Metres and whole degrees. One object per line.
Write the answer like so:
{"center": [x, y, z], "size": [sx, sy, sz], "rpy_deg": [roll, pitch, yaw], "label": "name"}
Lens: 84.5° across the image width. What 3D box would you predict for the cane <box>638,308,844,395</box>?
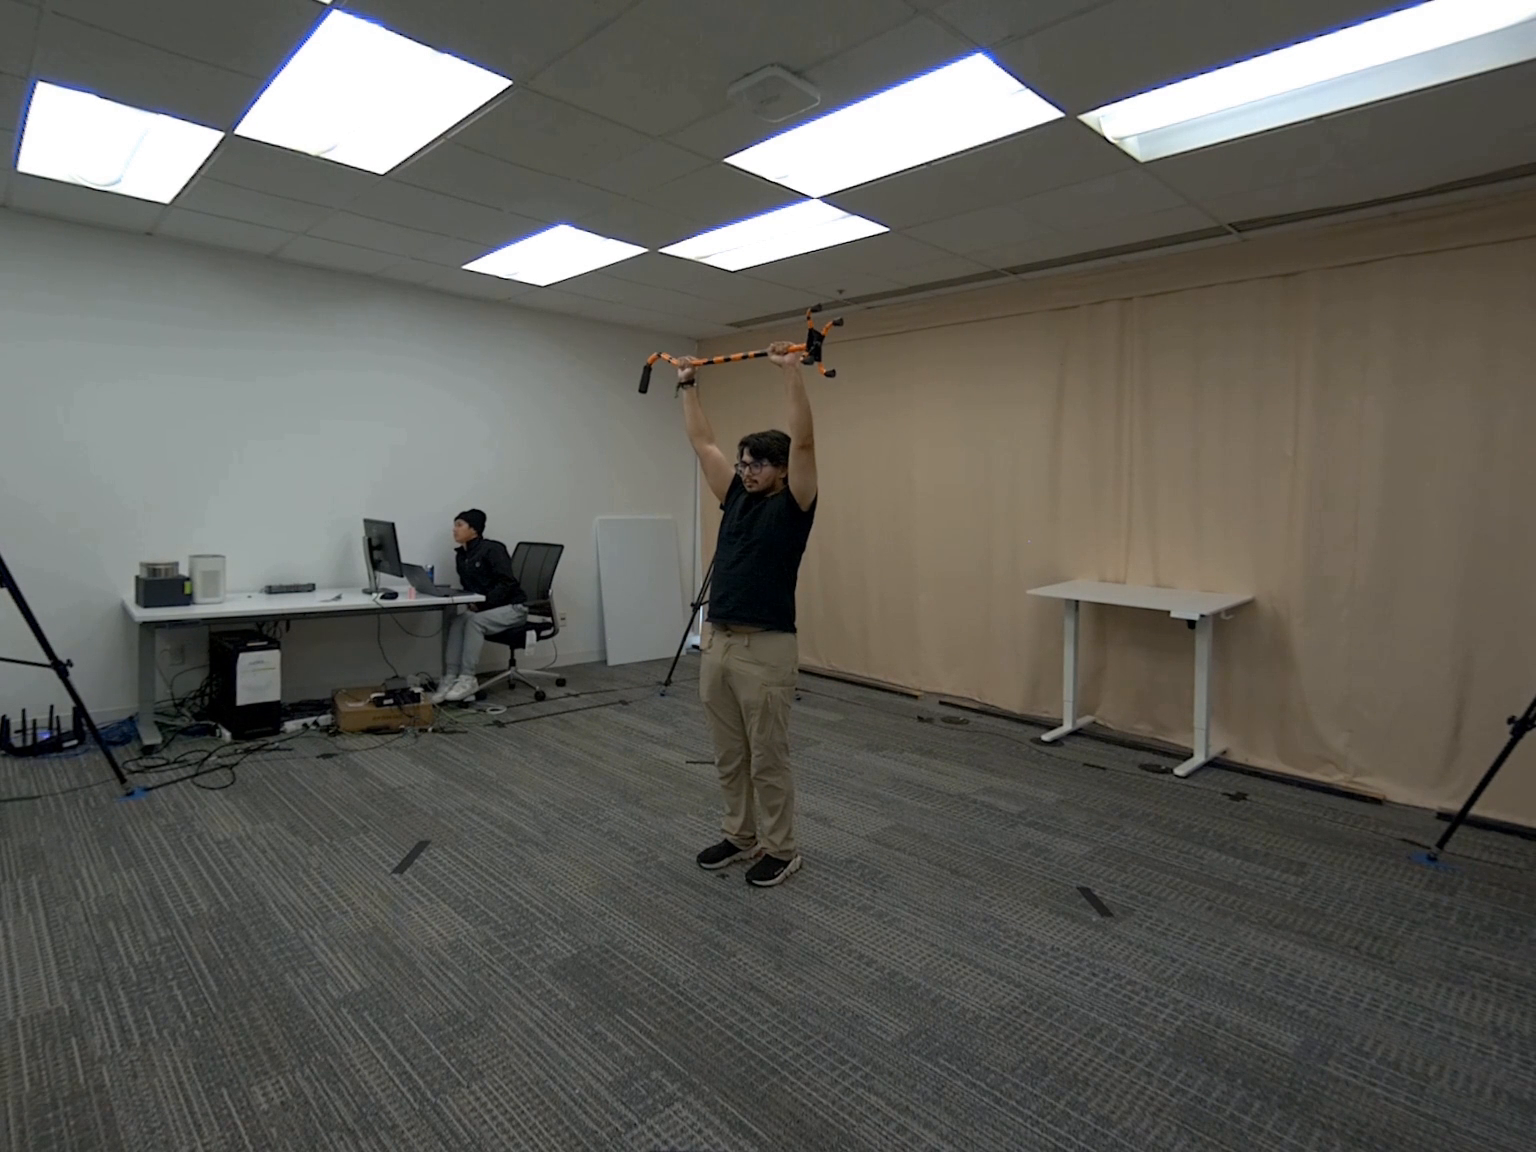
{"center": [-0.157, -0.792, 3.033], "size": [0.931, 0.207, 0.147], "rpy_deg": [5, -9, 42], "label": "cane"}
